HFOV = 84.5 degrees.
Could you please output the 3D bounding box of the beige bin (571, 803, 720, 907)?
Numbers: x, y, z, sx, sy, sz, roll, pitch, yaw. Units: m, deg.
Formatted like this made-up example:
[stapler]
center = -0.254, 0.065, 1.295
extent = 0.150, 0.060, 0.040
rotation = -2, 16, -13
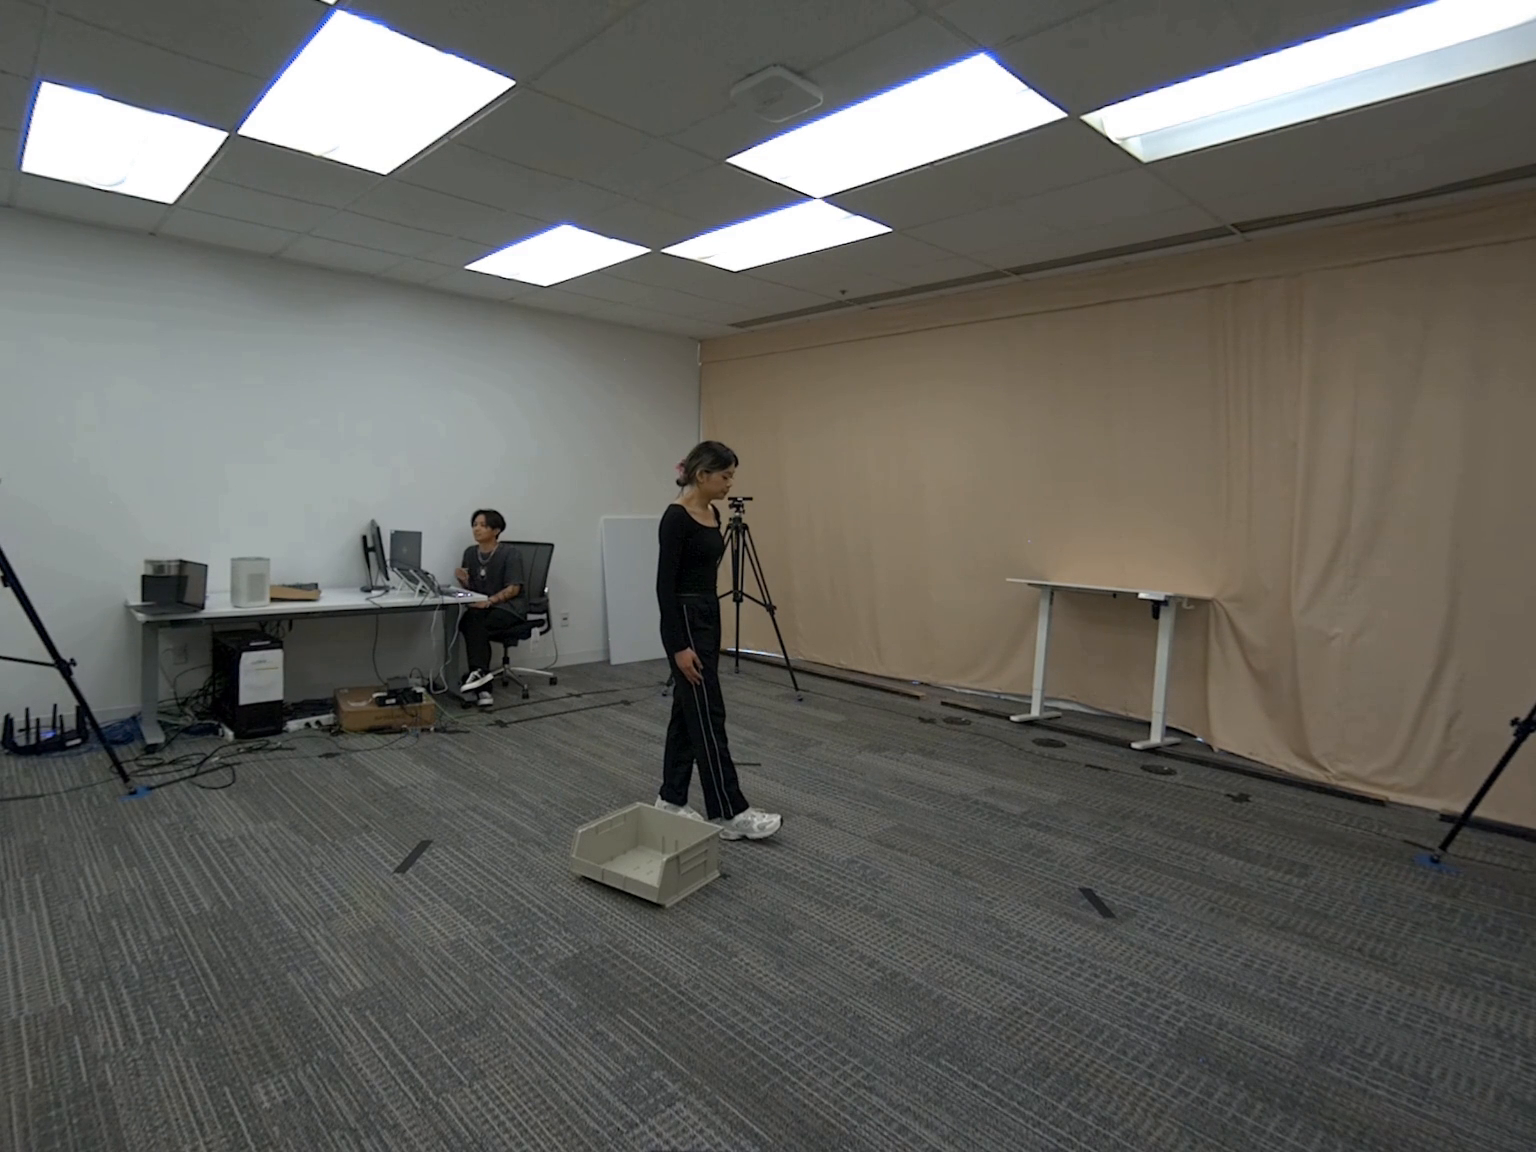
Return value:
[beige bin]
center = -0.447, 1.019, 3.074
extent = 0.432, 0.188, 0.369
rotation = 4, 4, 33
